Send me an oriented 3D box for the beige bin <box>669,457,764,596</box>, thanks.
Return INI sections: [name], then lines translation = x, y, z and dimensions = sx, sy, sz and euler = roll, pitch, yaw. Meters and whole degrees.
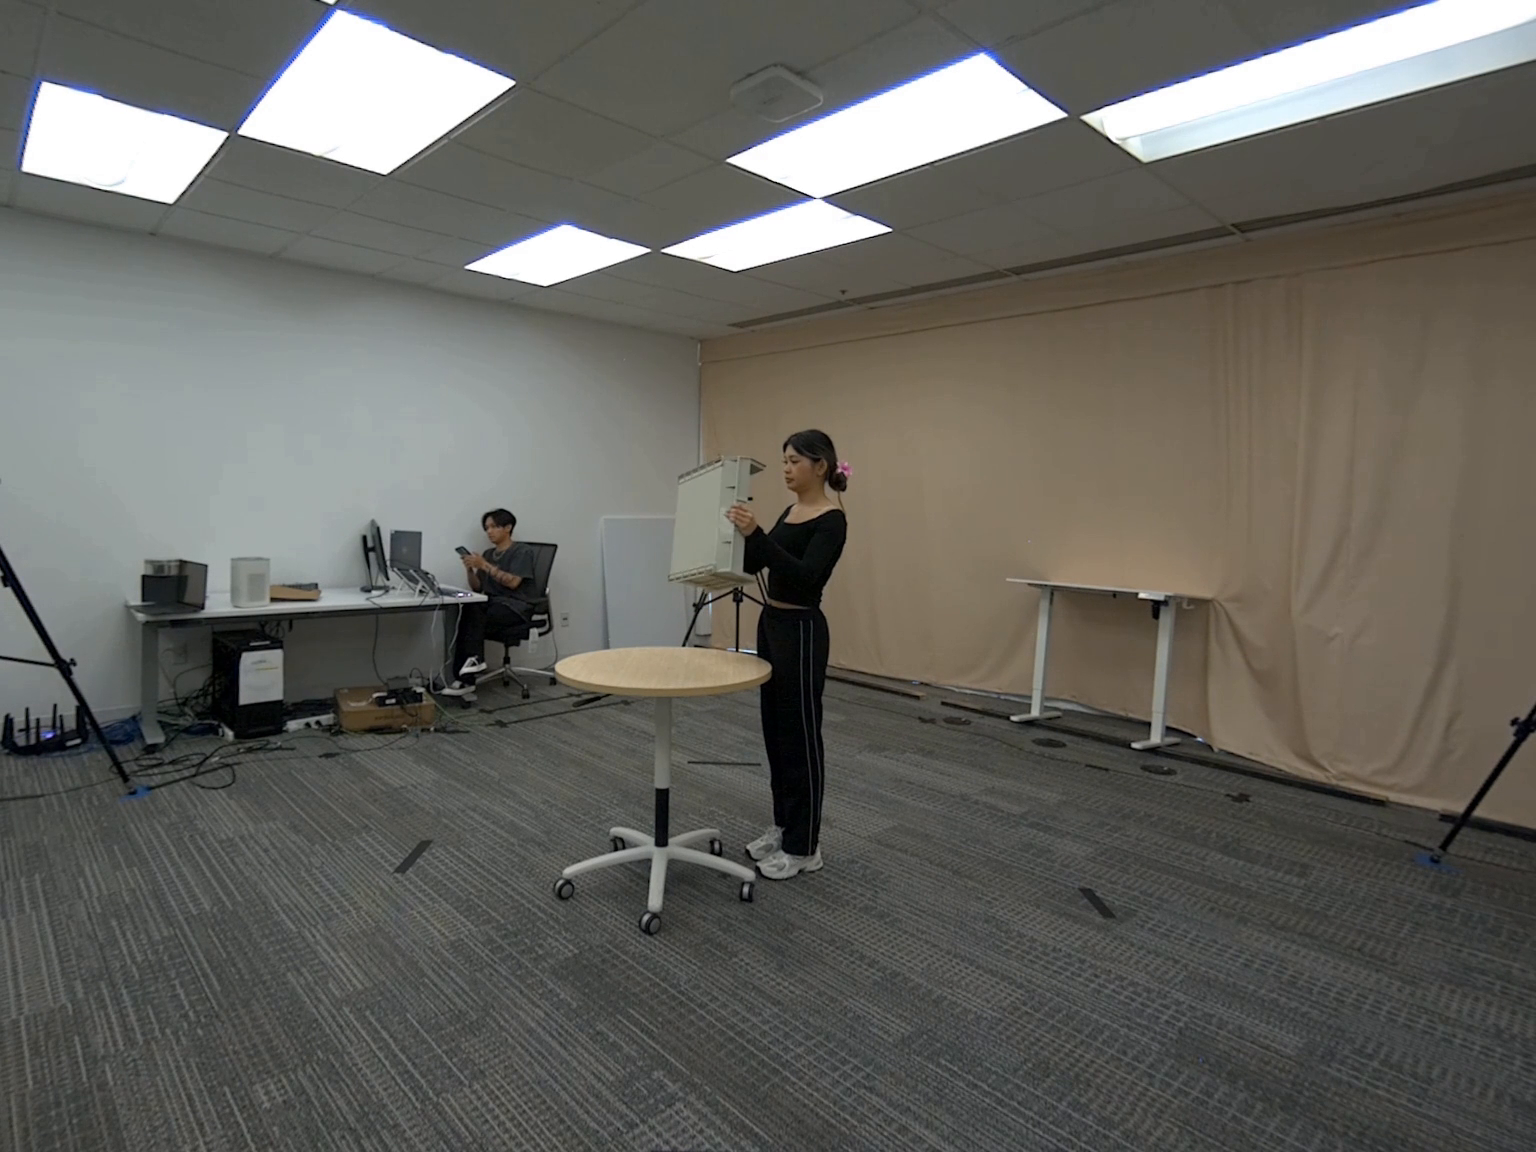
[beige bin]
translation = -0.168, -0.174, 3.002
dimensions = 0.184, 0.426, 0.383
euler = 10, -14, -31
